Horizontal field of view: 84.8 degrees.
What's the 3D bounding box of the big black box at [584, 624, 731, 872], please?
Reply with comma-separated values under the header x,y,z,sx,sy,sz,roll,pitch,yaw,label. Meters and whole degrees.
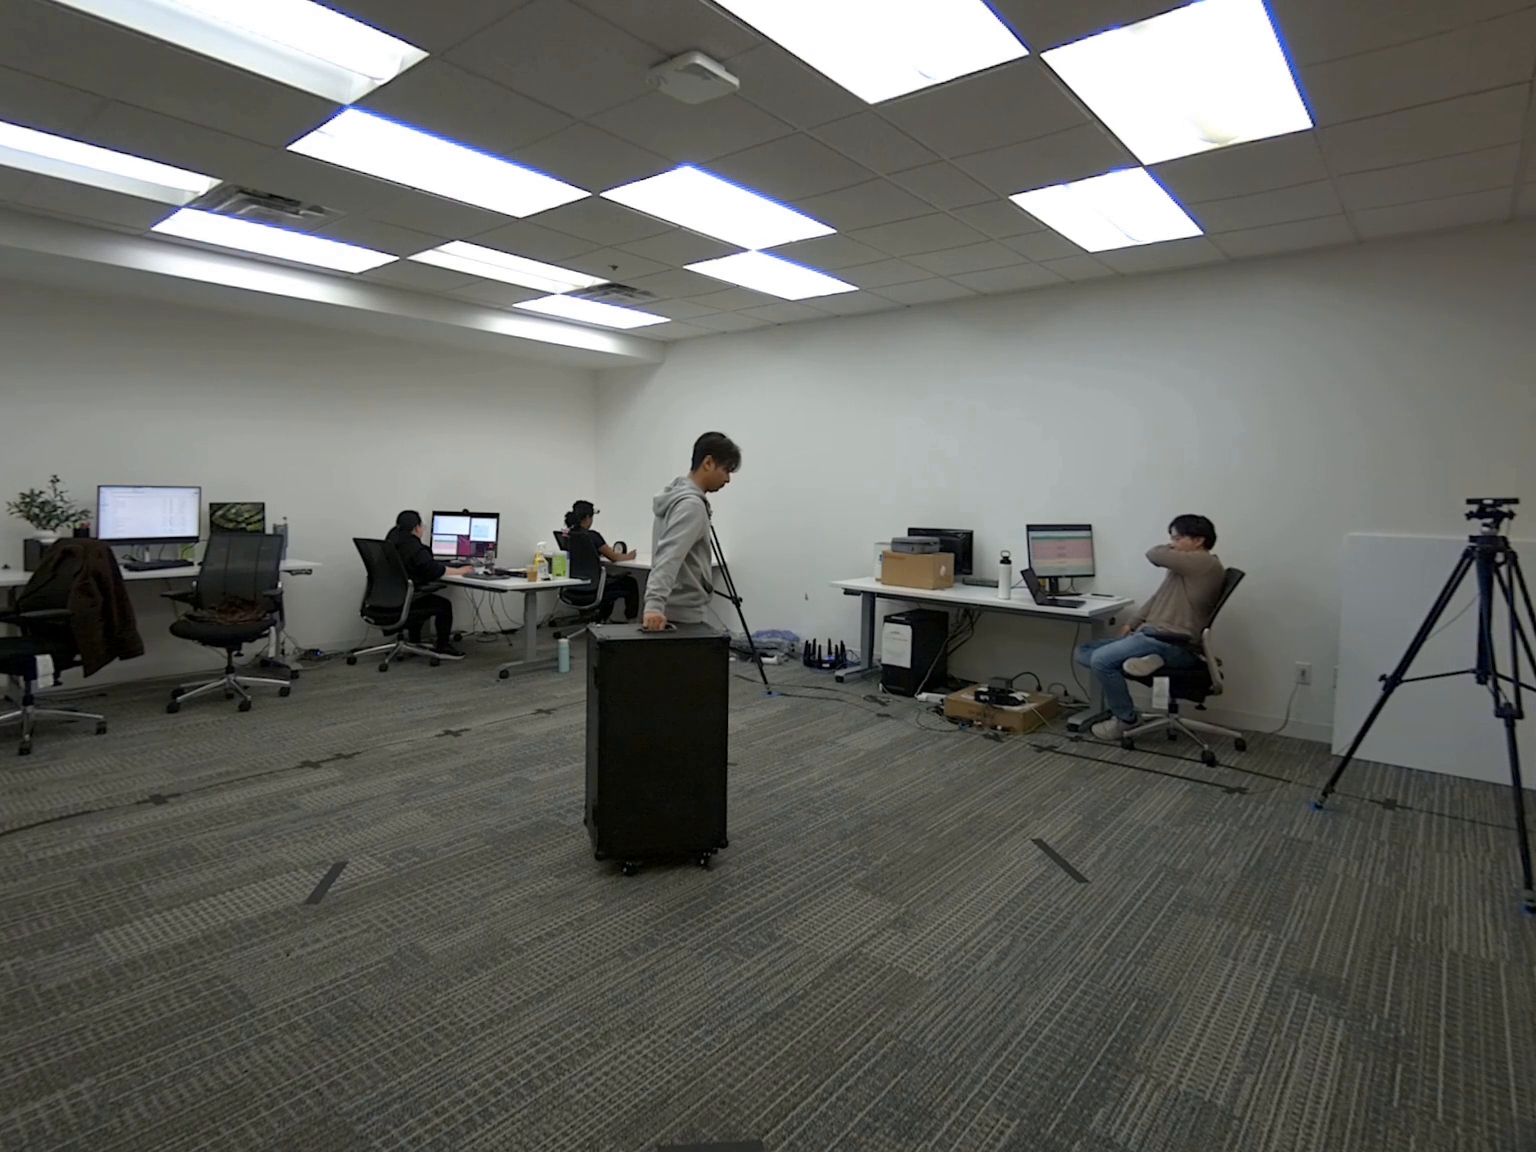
x,y,z,sx,sy,sz,roll,pitch,yaw,label
-0.445,0.625,3.225,0.512,0.860,0.403,0,1,-17,big black box
